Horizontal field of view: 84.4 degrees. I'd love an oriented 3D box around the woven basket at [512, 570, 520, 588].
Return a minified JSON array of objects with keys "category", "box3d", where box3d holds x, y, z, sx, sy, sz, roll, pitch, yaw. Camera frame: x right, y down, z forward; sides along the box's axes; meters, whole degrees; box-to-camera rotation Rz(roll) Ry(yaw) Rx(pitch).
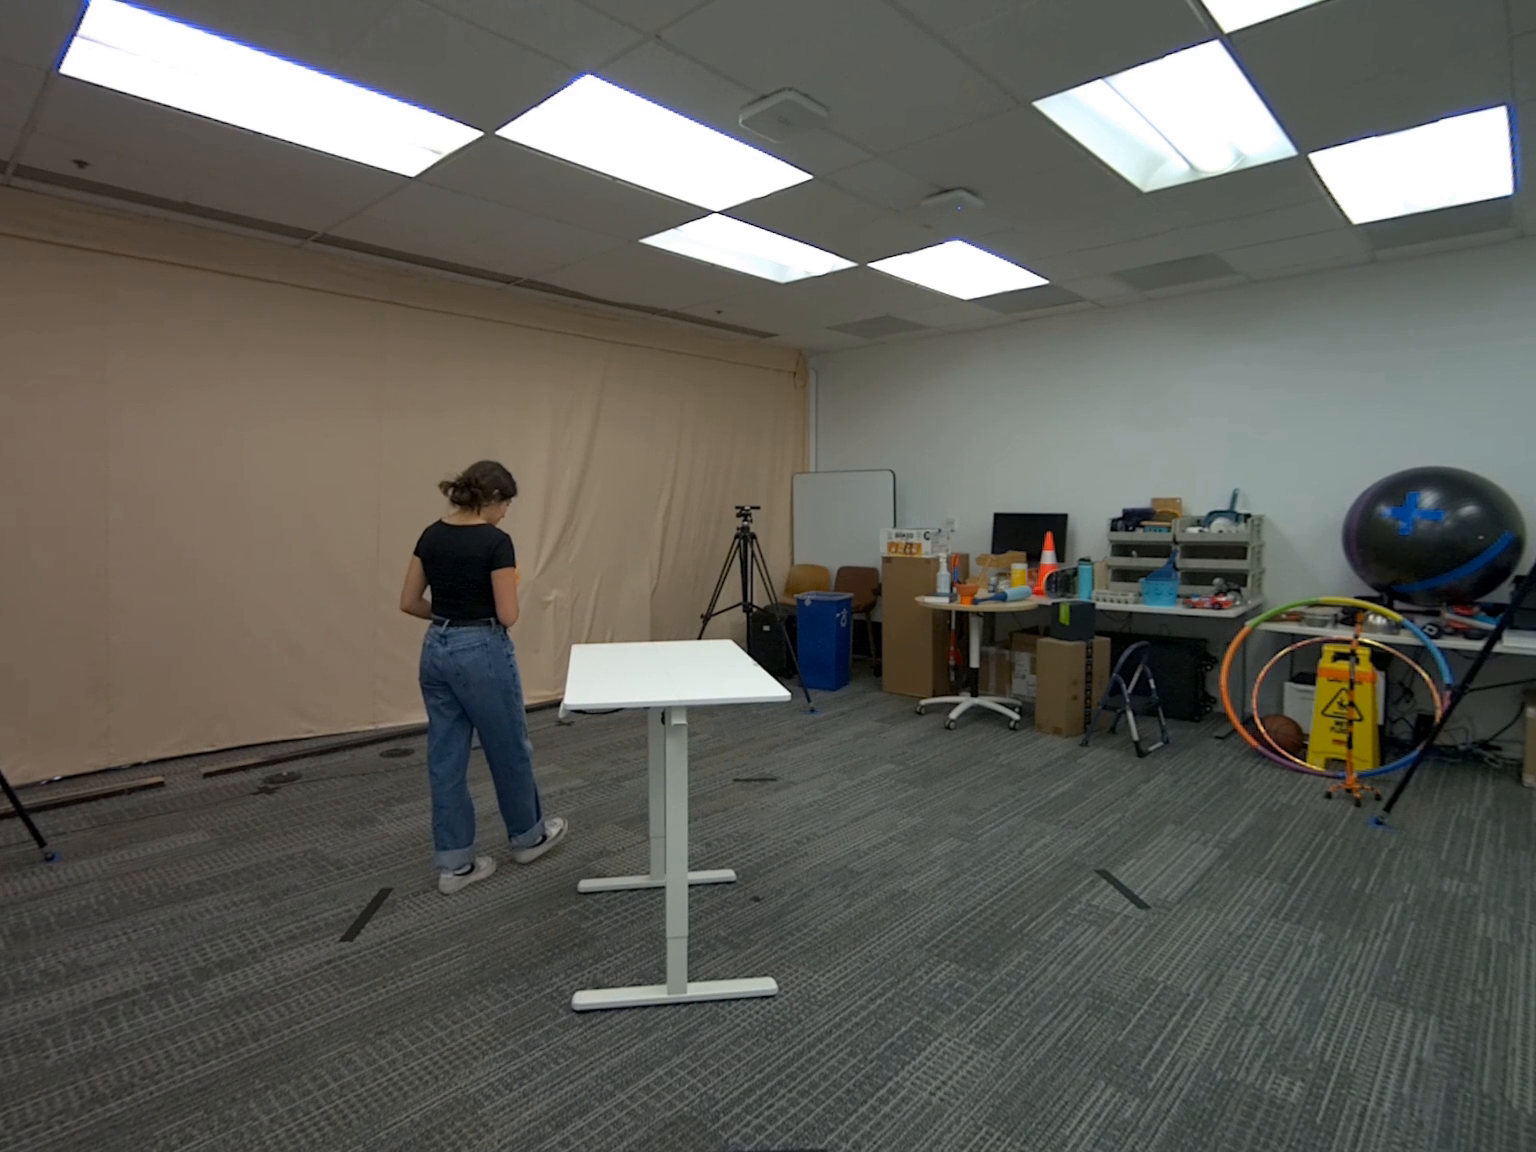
[{"category":"woven basket","box3d":[-1.111,0.066,3.416,0.255,0.071,0.356,-25,31,17]}]
